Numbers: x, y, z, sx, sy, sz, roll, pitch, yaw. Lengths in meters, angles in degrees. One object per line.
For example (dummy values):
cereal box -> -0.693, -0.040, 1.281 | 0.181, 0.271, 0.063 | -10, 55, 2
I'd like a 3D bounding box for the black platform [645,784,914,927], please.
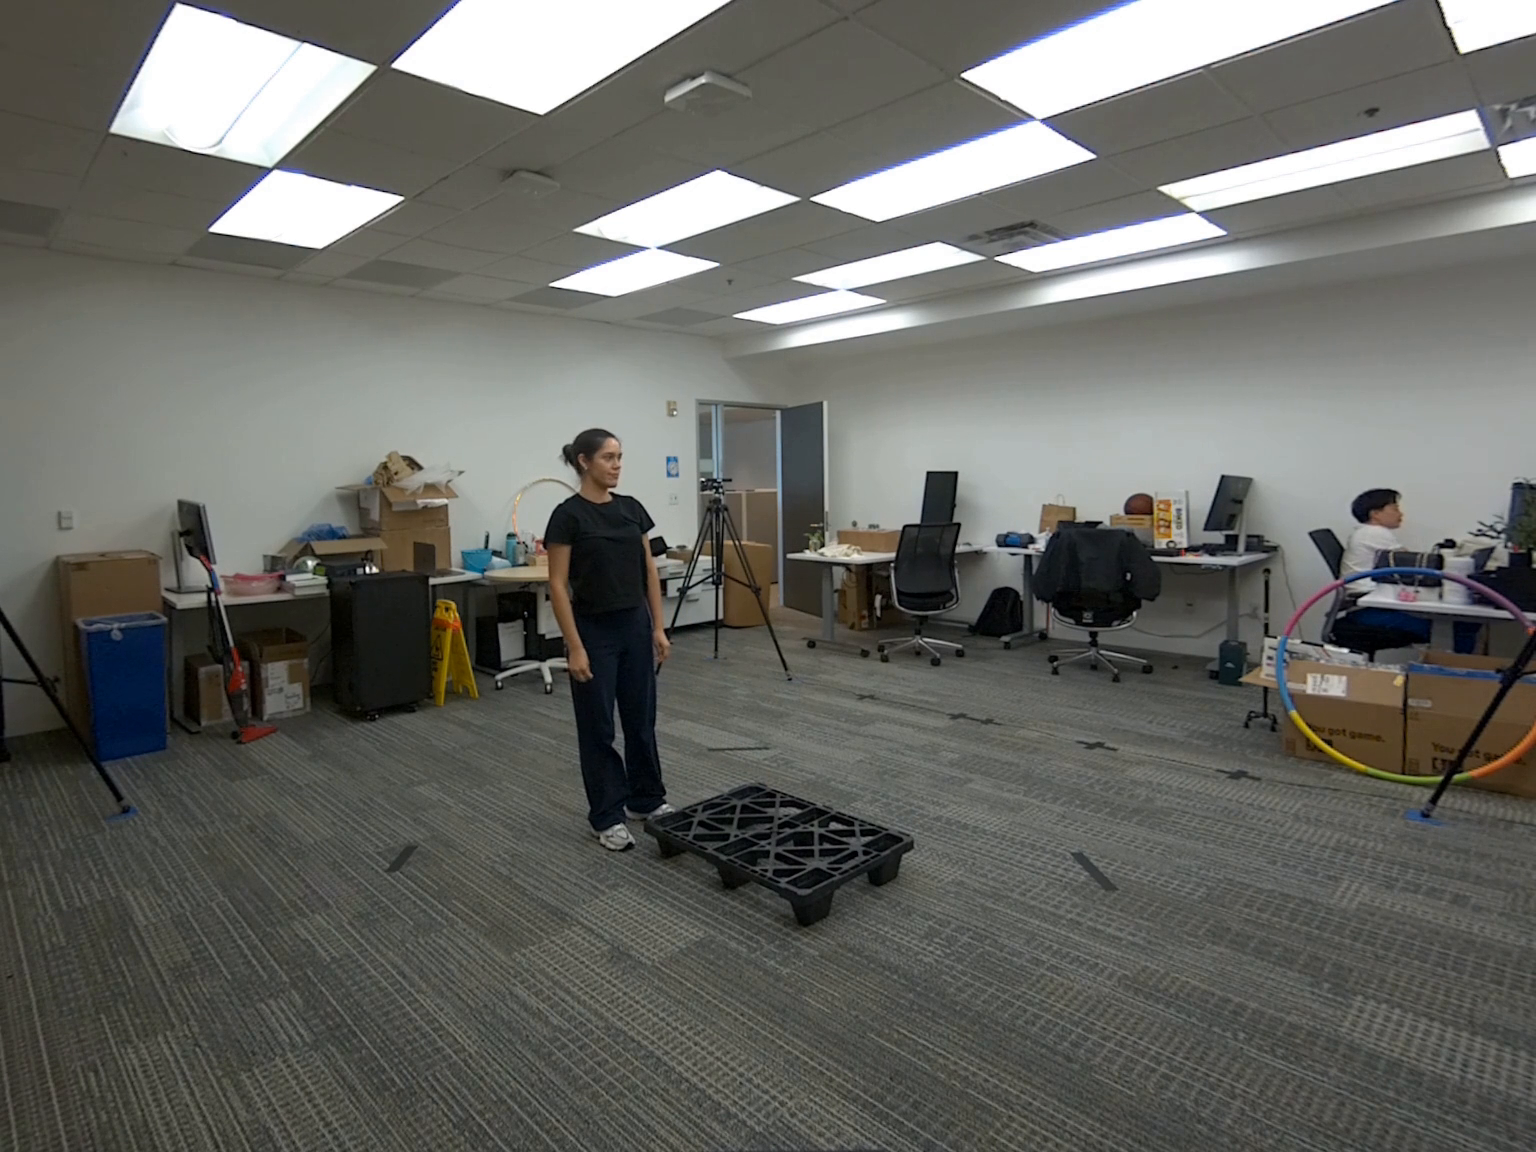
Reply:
black platform -> 0.026, 0.983, 3.083 | 0.589, 0.143, 0.830 | -7, 9, -44
